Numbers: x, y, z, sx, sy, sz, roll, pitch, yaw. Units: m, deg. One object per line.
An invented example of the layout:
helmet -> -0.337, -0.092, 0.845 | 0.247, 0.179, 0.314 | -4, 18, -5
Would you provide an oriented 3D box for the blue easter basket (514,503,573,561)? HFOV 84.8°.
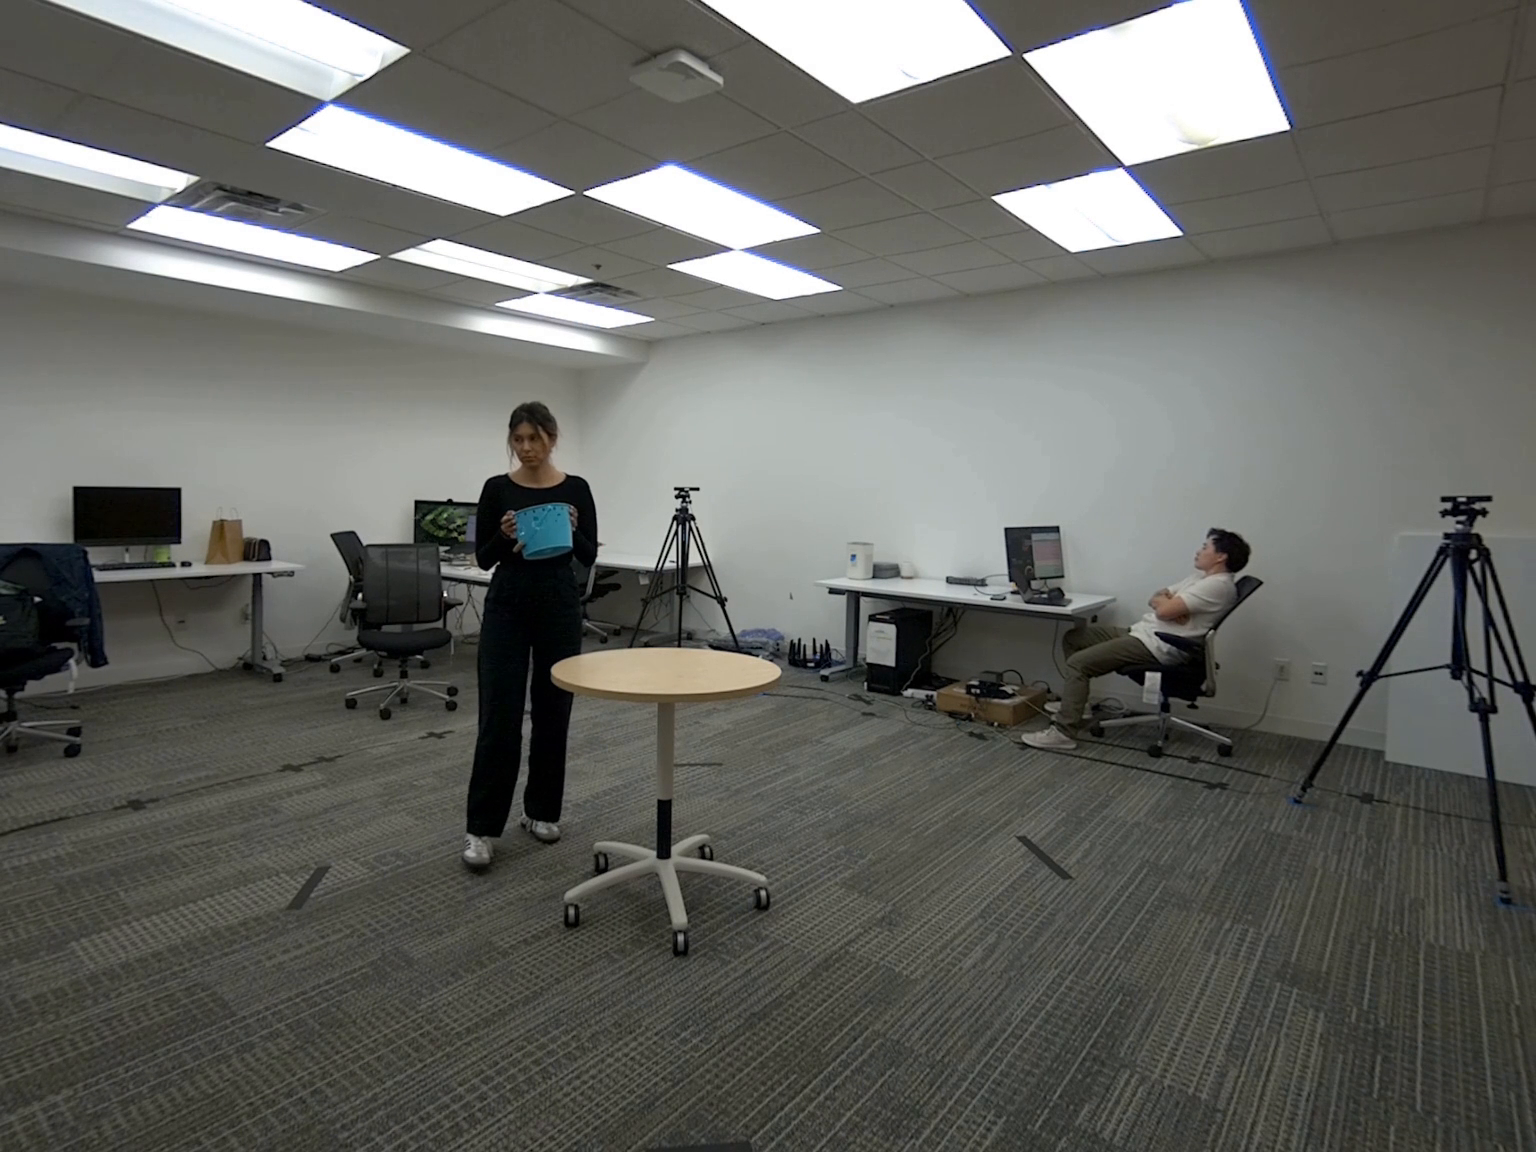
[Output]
blue easter basket -> -0.858, -0.160, 3.129 | 0.243, 0.157, 0.242 | -10, -8, -3
